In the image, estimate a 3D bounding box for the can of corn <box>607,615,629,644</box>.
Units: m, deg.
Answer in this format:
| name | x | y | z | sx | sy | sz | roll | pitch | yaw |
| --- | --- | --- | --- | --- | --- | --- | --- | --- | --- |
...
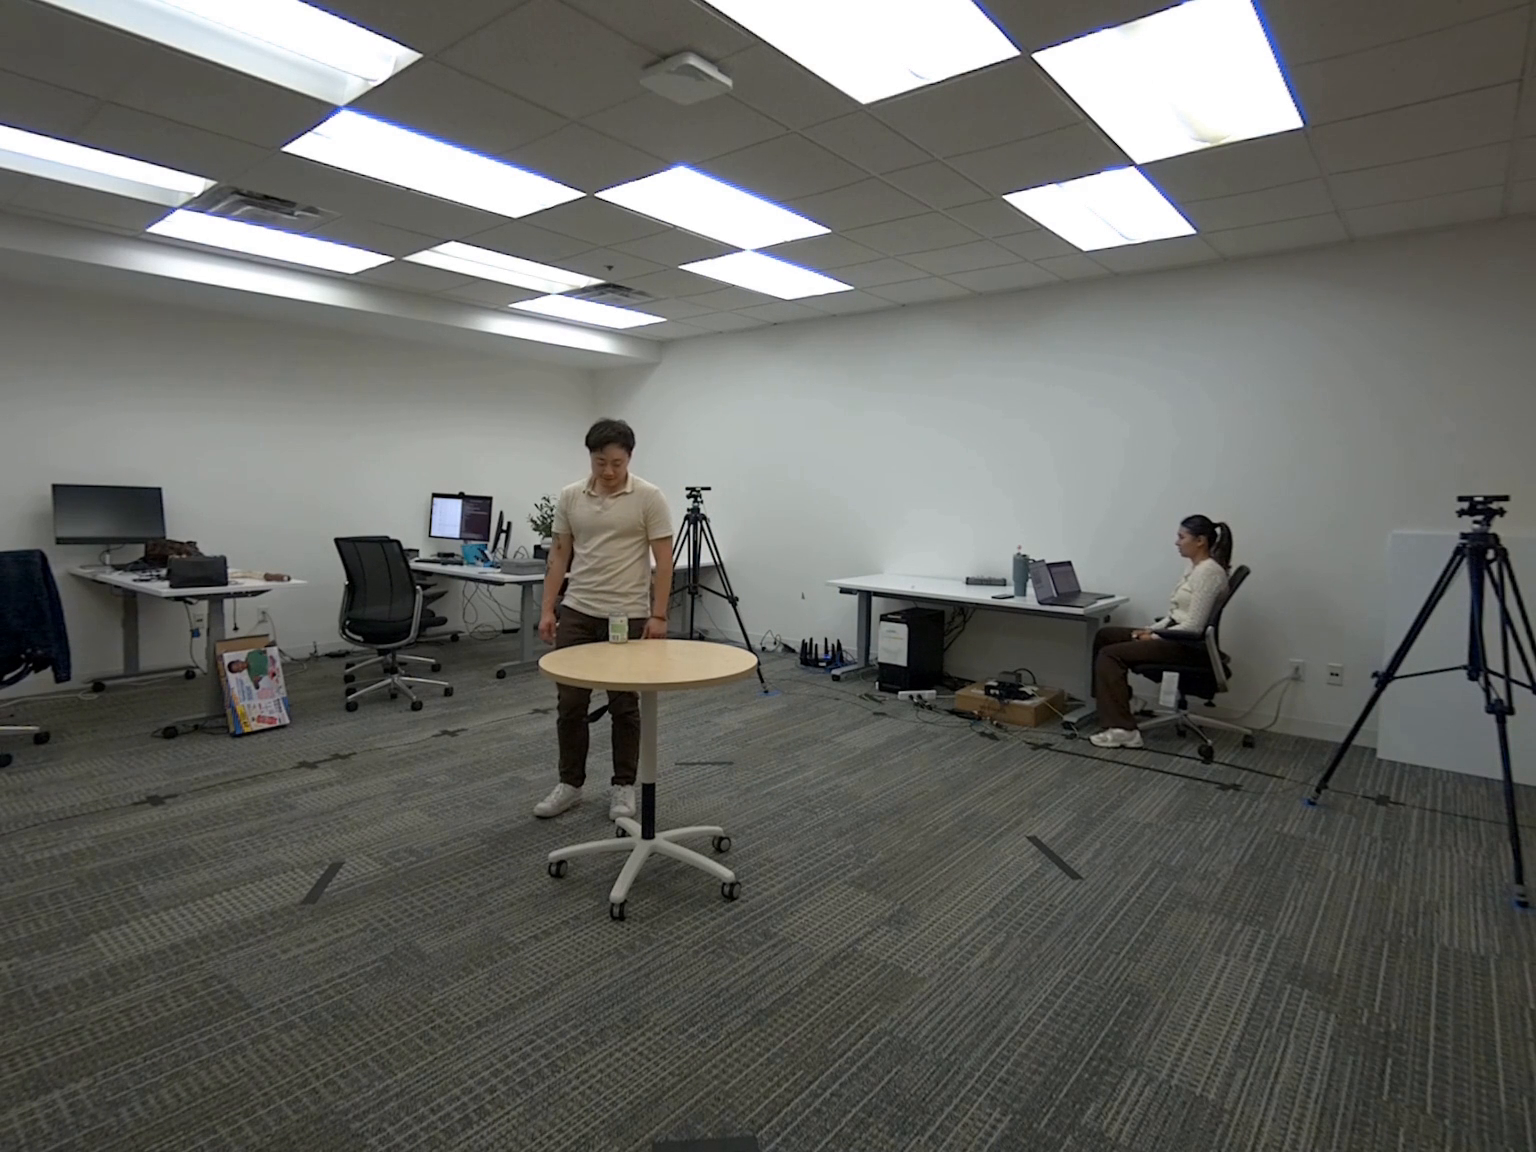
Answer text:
| name | x | y | z | sx | sy | sz | roll | pitch | yaw |
| --- | --- | --- | --- | --- | --- | --- | --- | --- | --- |
| can of corn | -0.600 | 0.201 | 3.312 | 0.074 | 0.111 | 0.074 | -3 | 2 | -2 |
